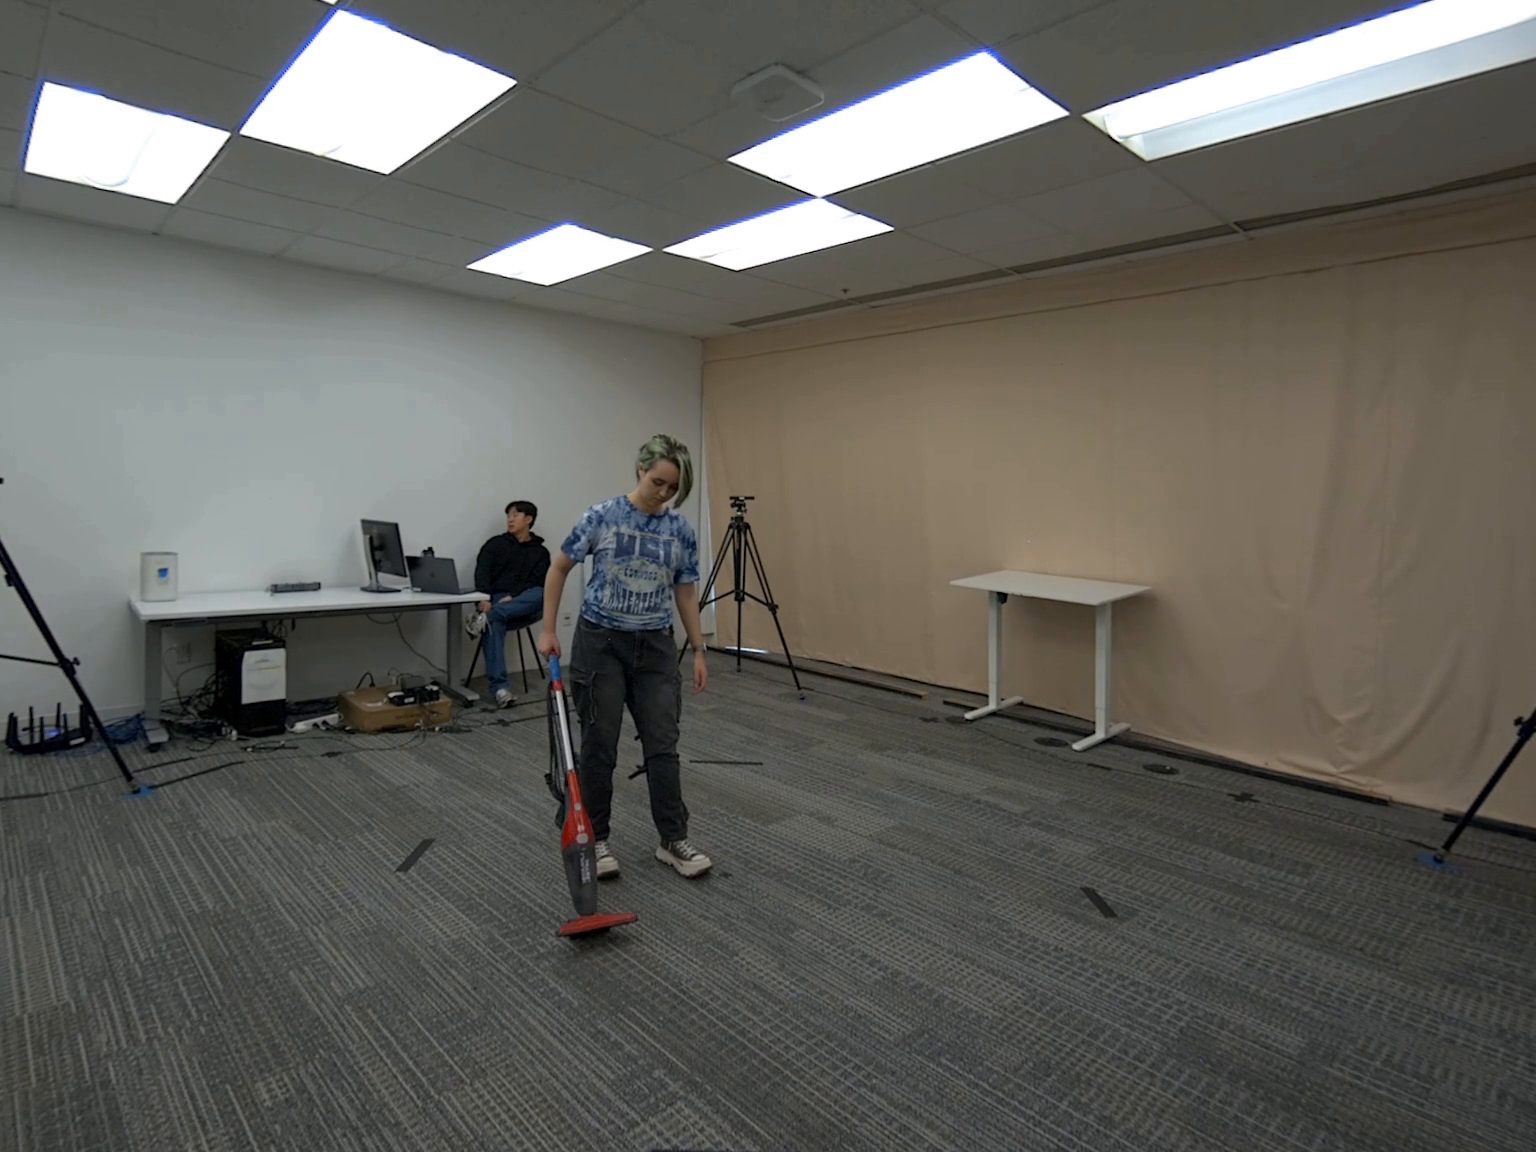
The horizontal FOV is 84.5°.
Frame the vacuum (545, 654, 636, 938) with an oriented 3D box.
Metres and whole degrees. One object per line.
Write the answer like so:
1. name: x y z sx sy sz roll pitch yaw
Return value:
1. vacuum: -0.705 0.690 2.896 0.247 1.077 0.143 0 -38 -29
